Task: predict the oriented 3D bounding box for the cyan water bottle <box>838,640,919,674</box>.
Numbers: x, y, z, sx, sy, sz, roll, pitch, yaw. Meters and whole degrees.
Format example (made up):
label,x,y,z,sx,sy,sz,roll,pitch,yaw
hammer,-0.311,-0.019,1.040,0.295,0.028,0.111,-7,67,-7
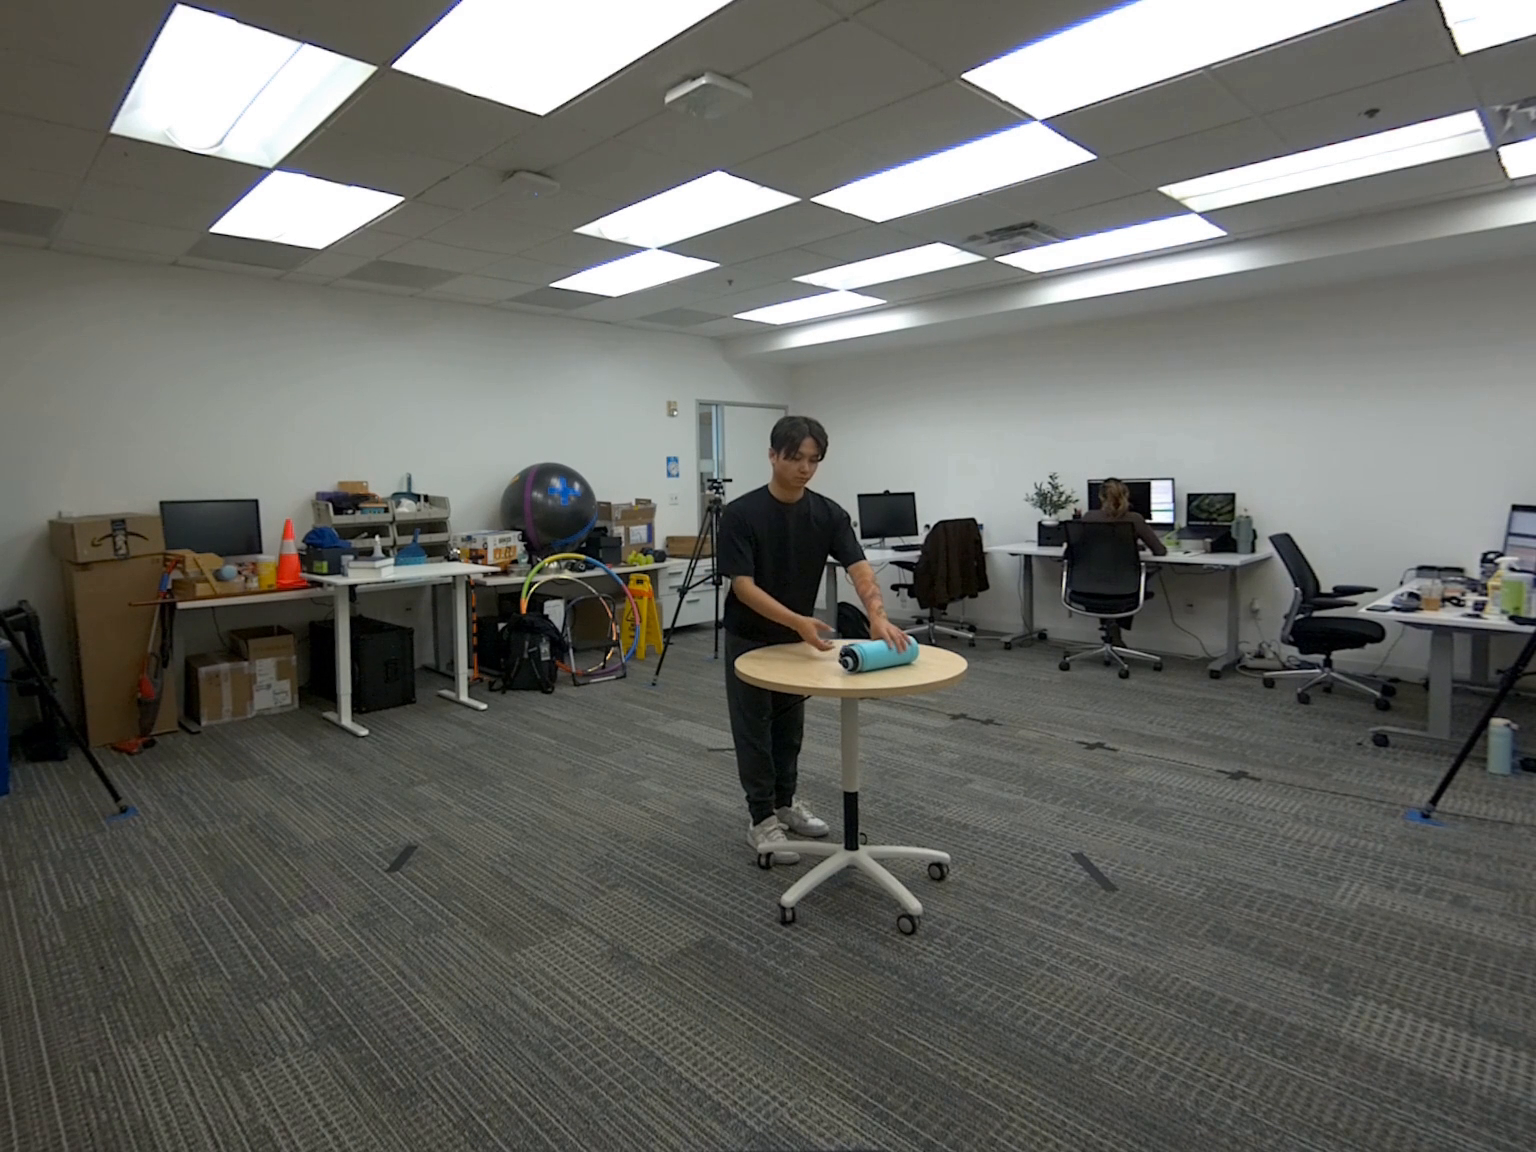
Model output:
label,x,y,z,sx,sy,sz,roll,pitch,yaw
cyan water bottle,0.347,0.251,2.737,0.277,0.092,0.095,-8,8,-30
